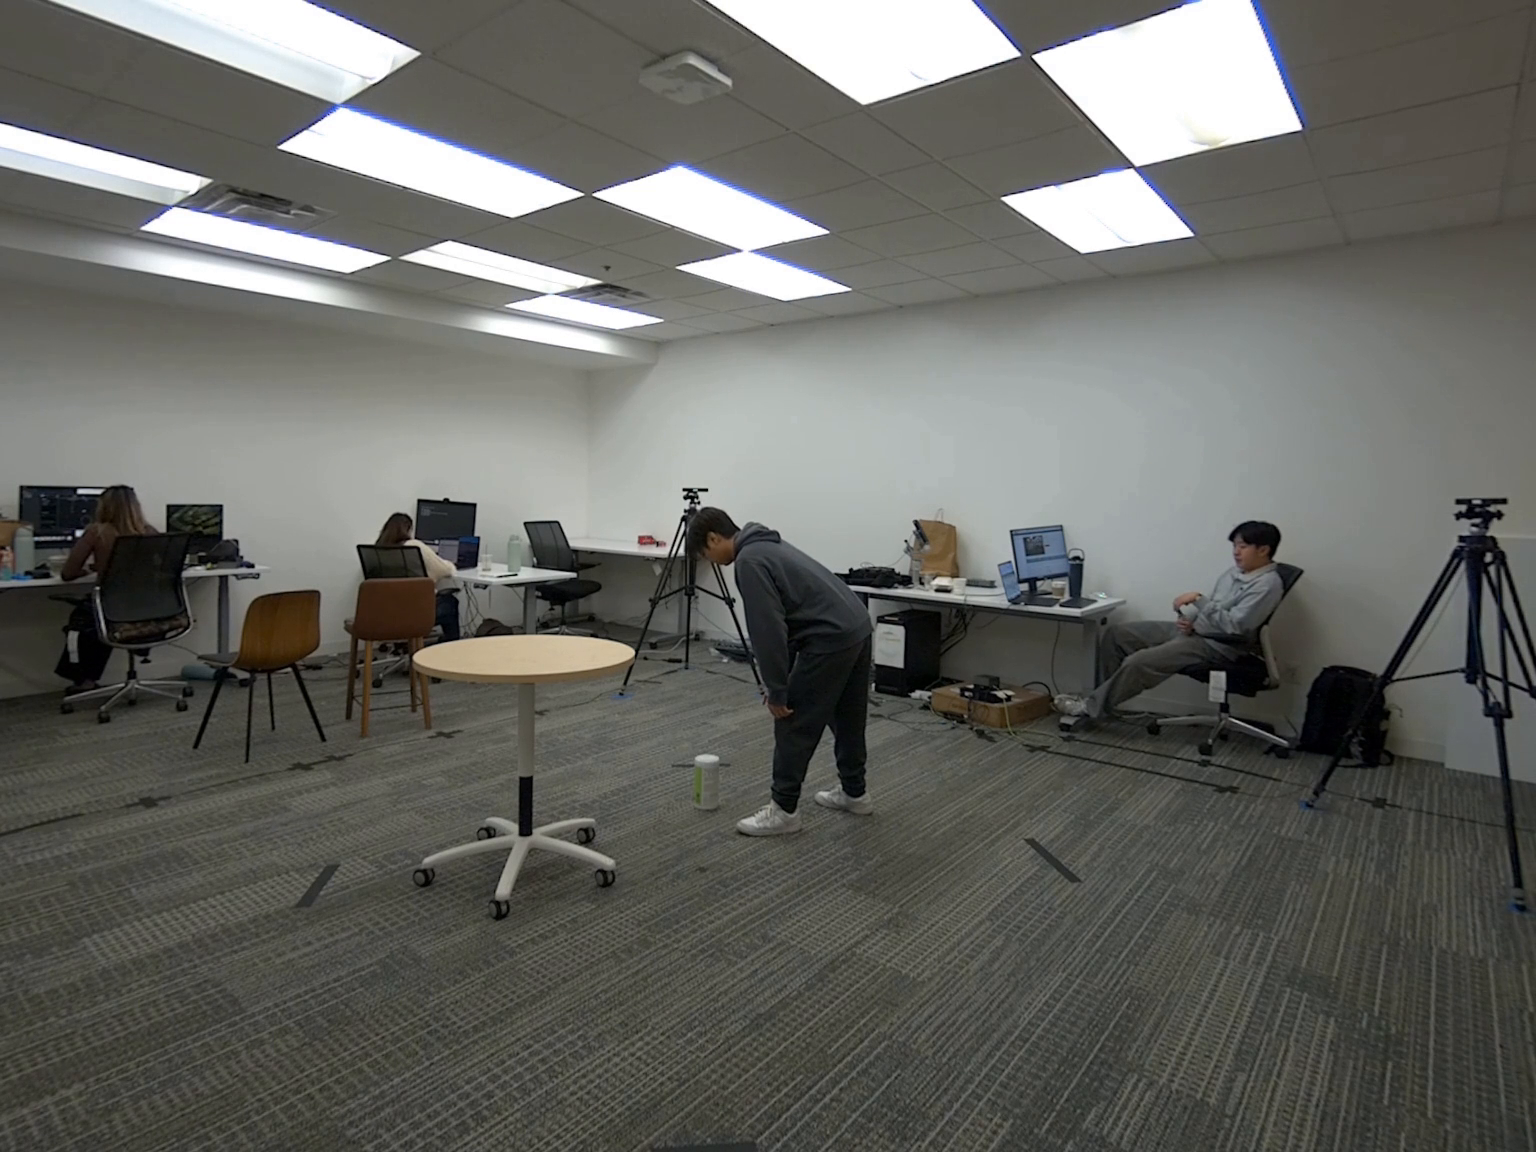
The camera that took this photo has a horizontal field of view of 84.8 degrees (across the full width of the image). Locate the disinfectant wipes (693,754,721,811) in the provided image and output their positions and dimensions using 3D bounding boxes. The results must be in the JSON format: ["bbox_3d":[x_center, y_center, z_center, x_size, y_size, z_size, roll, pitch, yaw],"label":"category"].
[{"bbox_3d":[-0.279,0.901,3.742,0.118,0.217,0.118,0,2,-2],"label":"disinfectant wipes"}]
